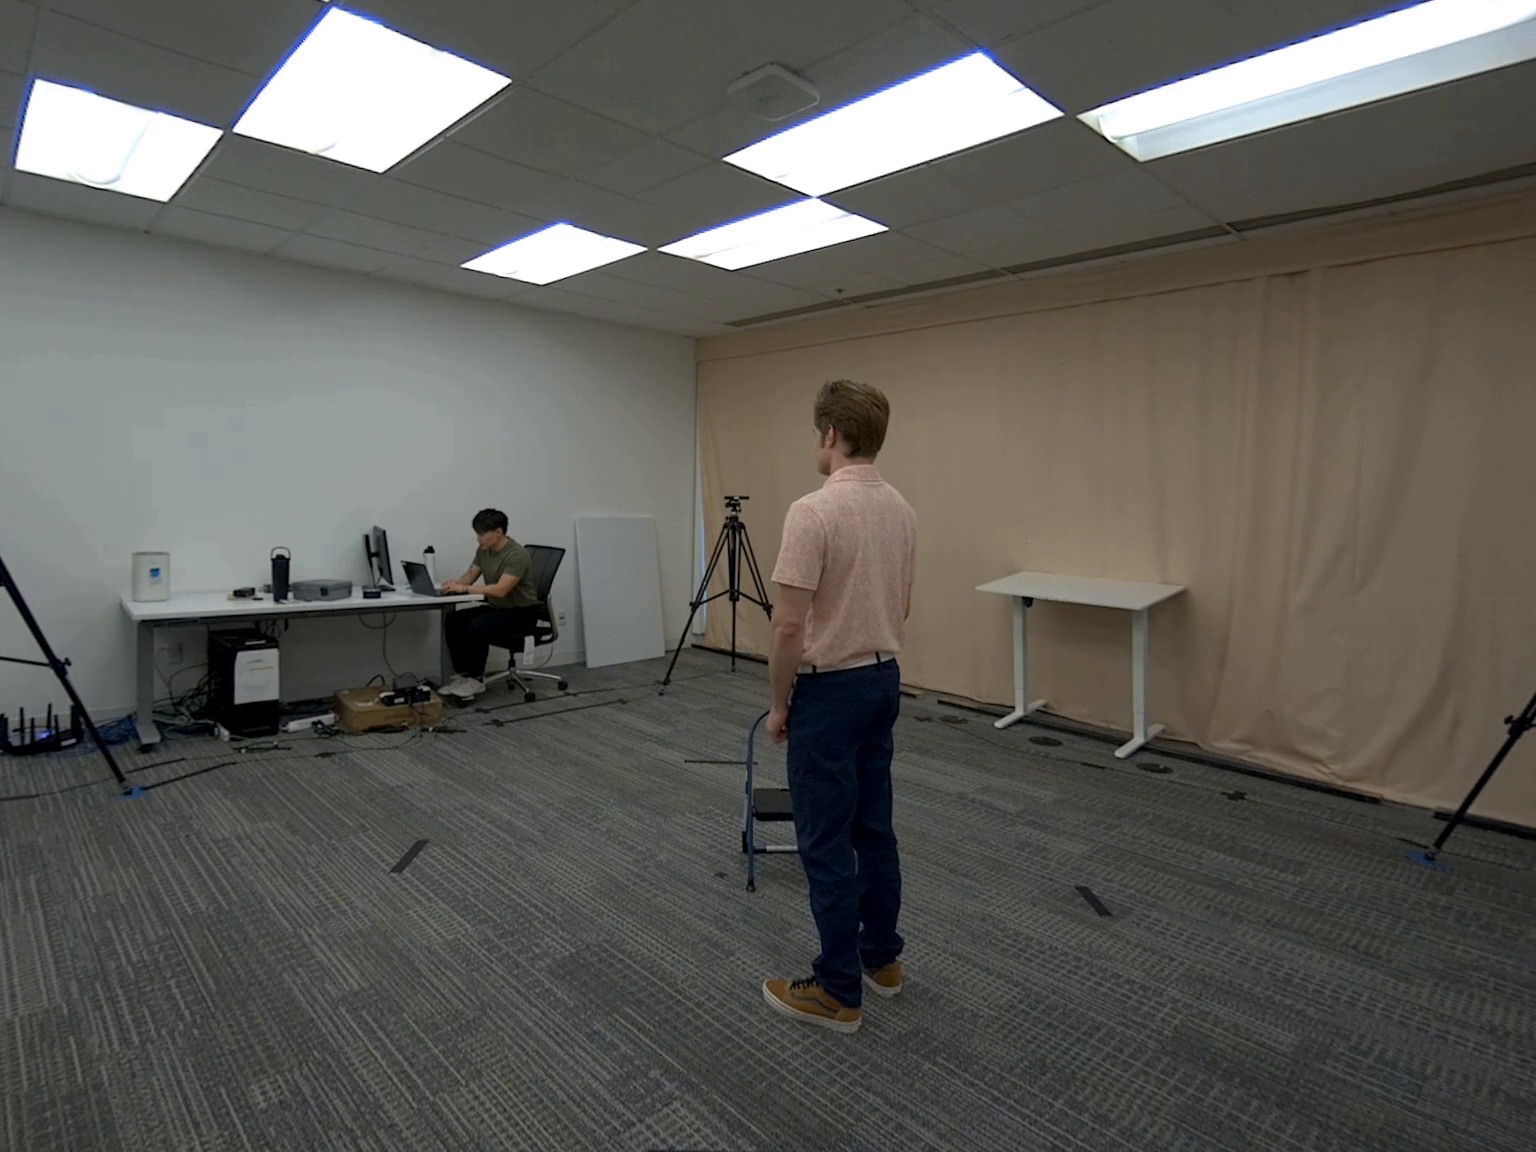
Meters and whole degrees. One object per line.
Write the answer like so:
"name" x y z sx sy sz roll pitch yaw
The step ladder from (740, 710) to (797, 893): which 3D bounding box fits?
"step ladder" 0.122 0.809 3.147 0.429 0.604 0.351 2 4 -5
